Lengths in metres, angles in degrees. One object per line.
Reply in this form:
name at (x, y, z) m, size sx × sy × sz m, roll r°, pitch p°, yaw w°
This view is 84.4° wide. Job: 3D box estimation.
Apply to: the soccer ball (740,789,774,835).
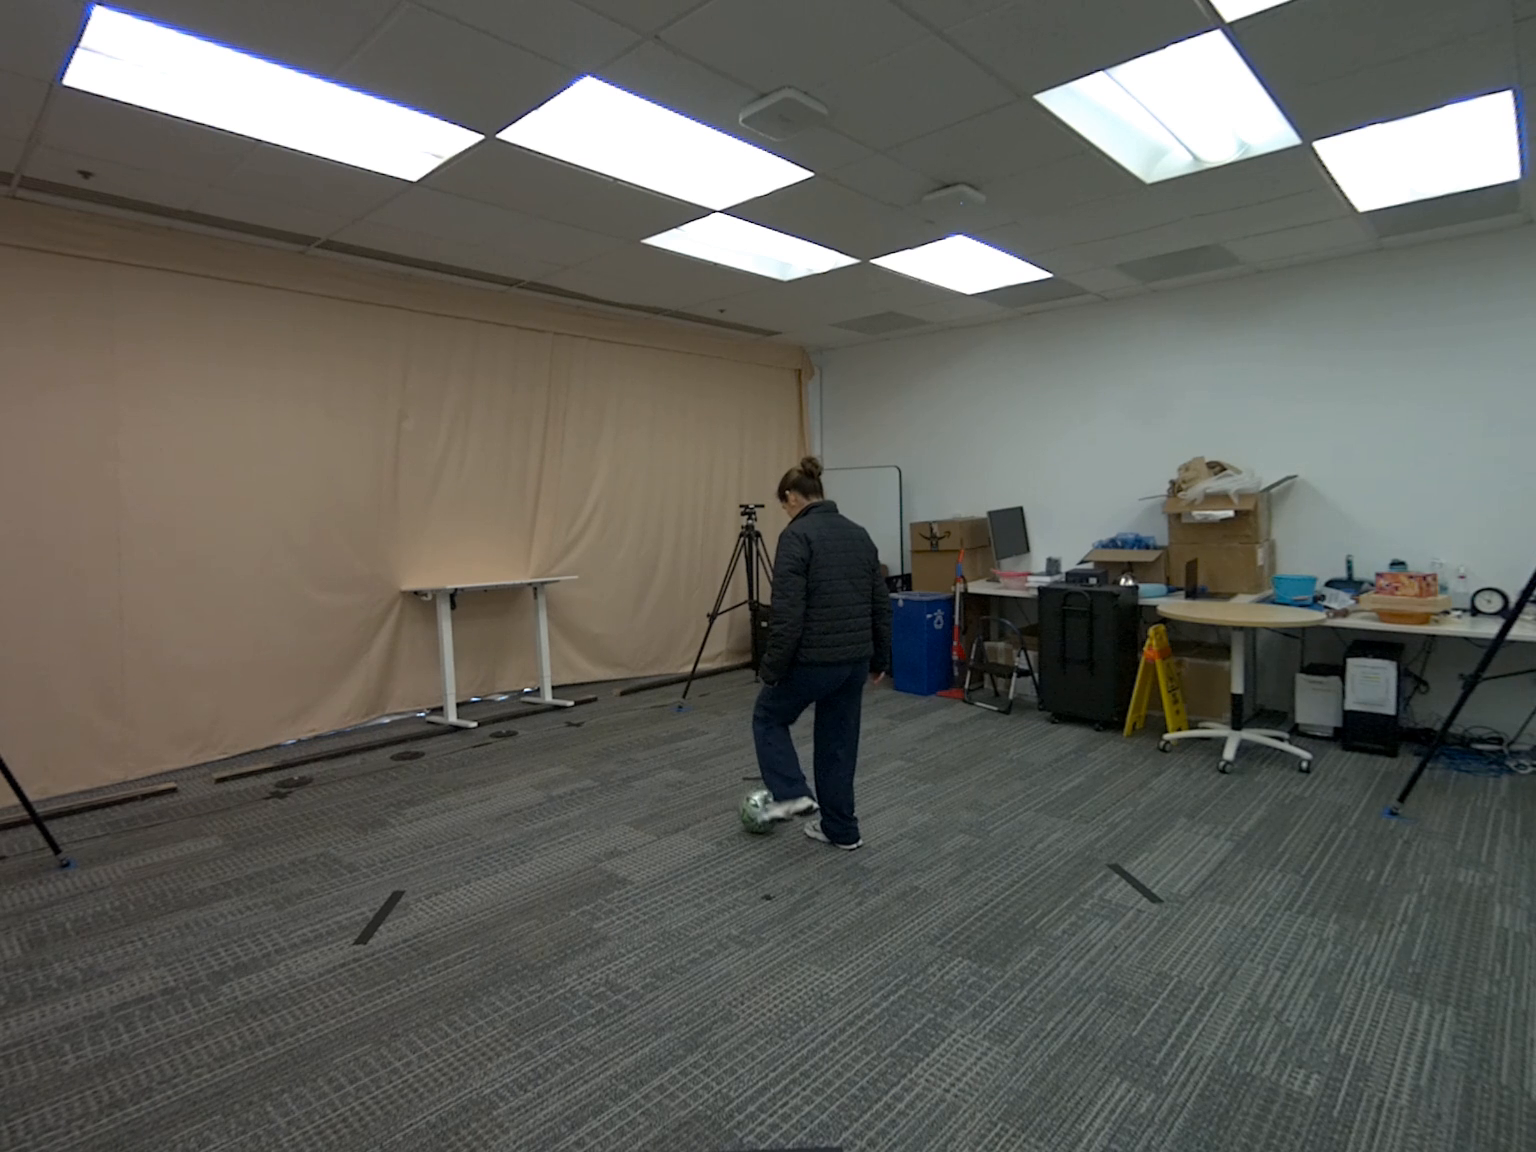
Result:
soccer ball at (-0.032, 0.993, 3.579) m, size 0.187 × 0.187 × 0.188 m, roll -1°, pitch 4°, yaw -2°
